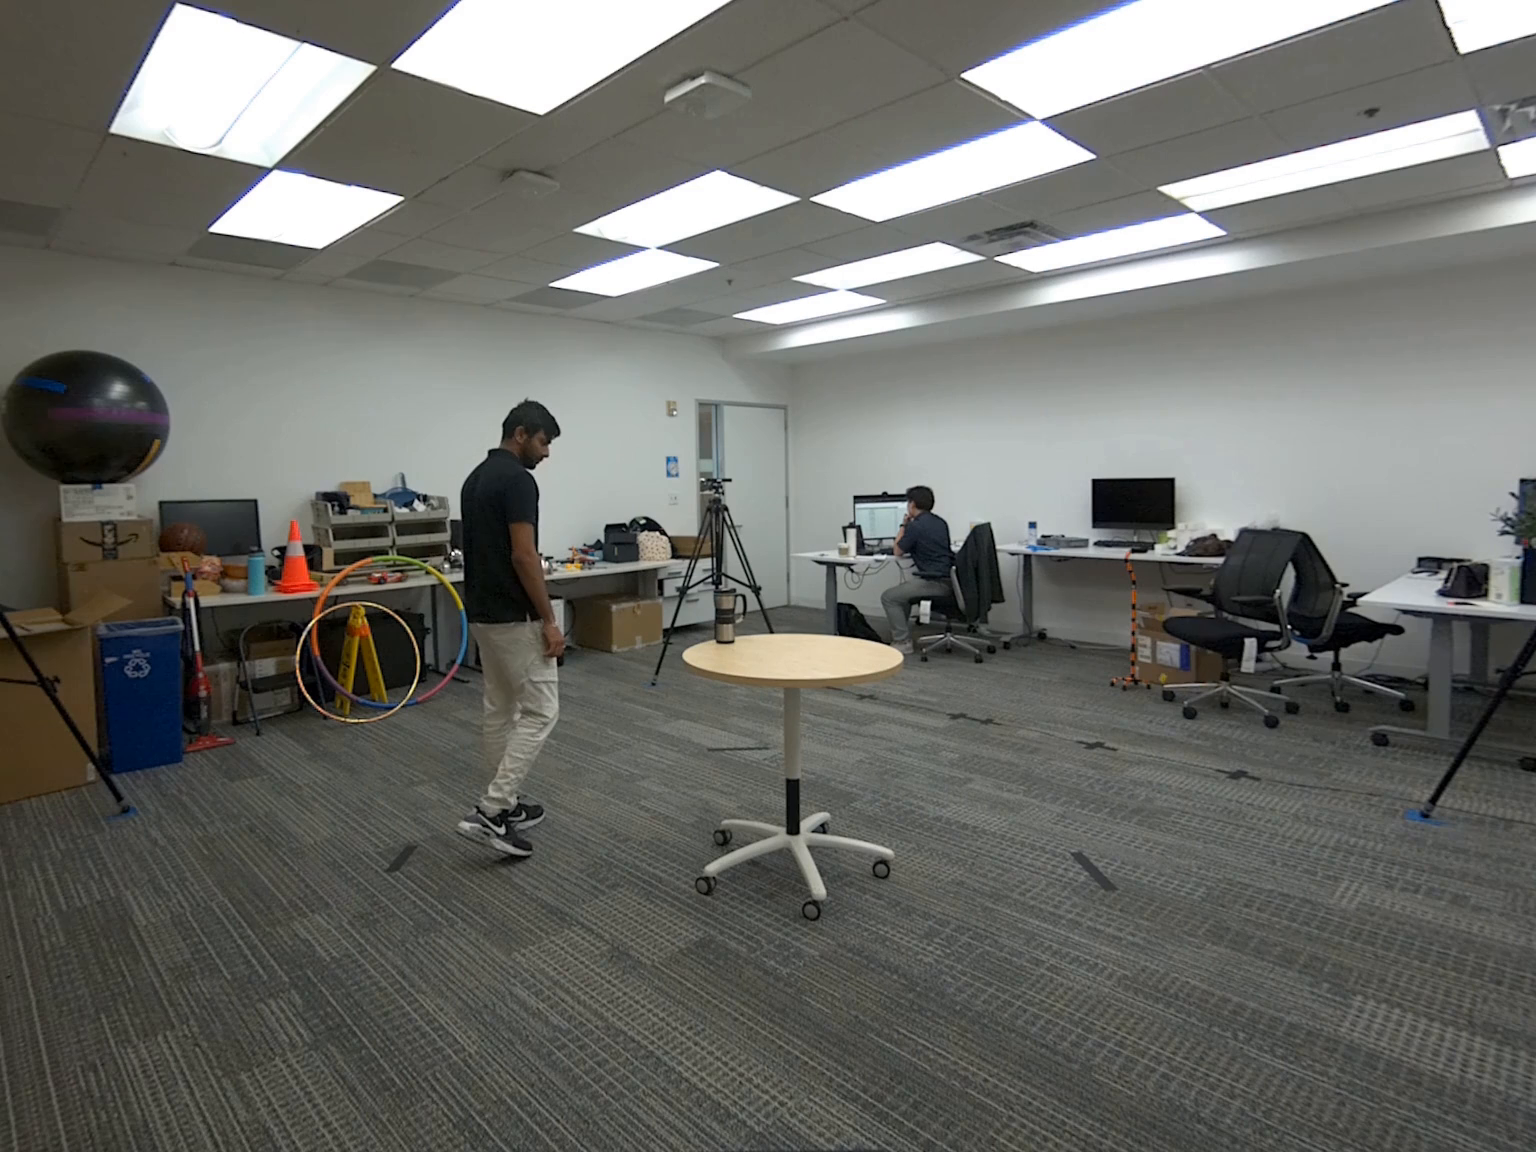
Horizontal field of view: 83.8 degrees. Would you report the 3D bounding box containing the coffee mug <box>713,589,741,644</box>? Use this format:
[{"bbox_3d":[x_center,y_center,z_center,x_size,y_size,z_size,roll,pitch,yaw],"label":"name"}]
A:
[{"bbox_3d":[-0.145,0.151,3.198,0.124,0.203,0.086,-2,-1,18],"label":"coffee mug"}]
